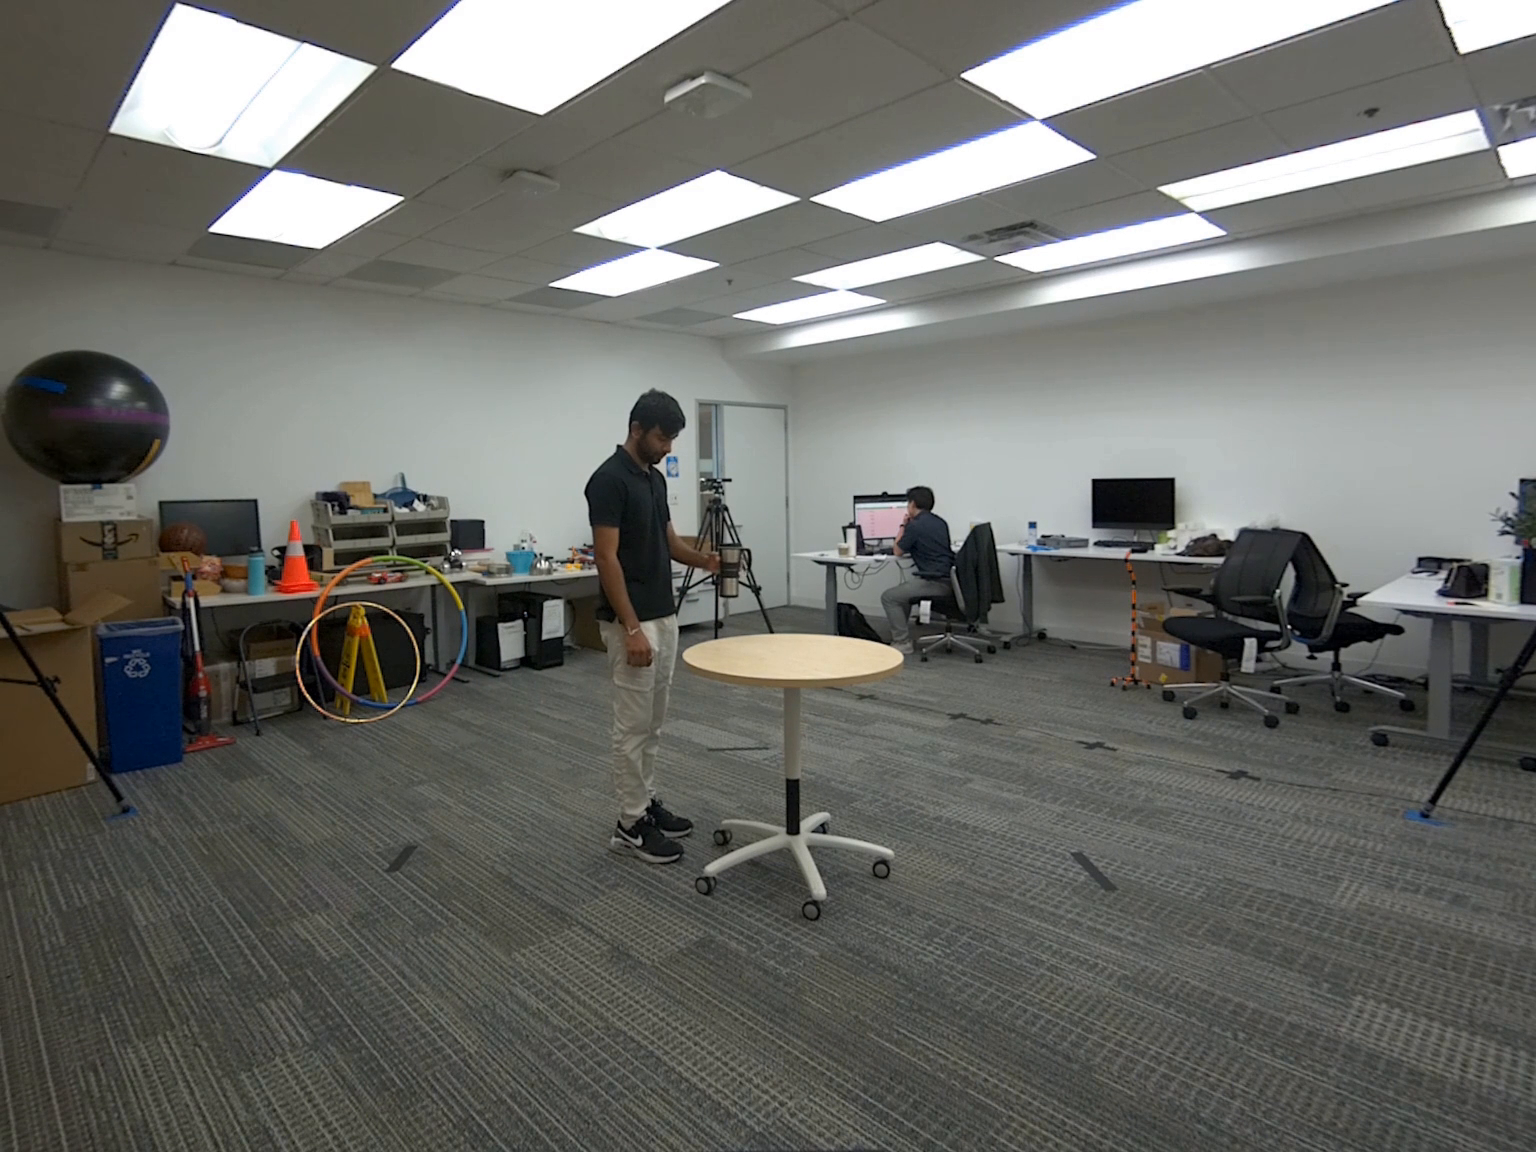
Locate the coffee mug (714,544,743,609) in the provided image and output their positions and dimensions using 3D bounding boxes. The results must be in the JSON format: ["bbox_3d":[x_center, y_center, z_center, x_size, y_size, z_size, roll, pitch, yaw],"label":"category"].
[{"bbox_3d":[-0.125,-0.018,3.156,0.125,0.203,0.086,2,1,27],"label":"coffee mug"}]
